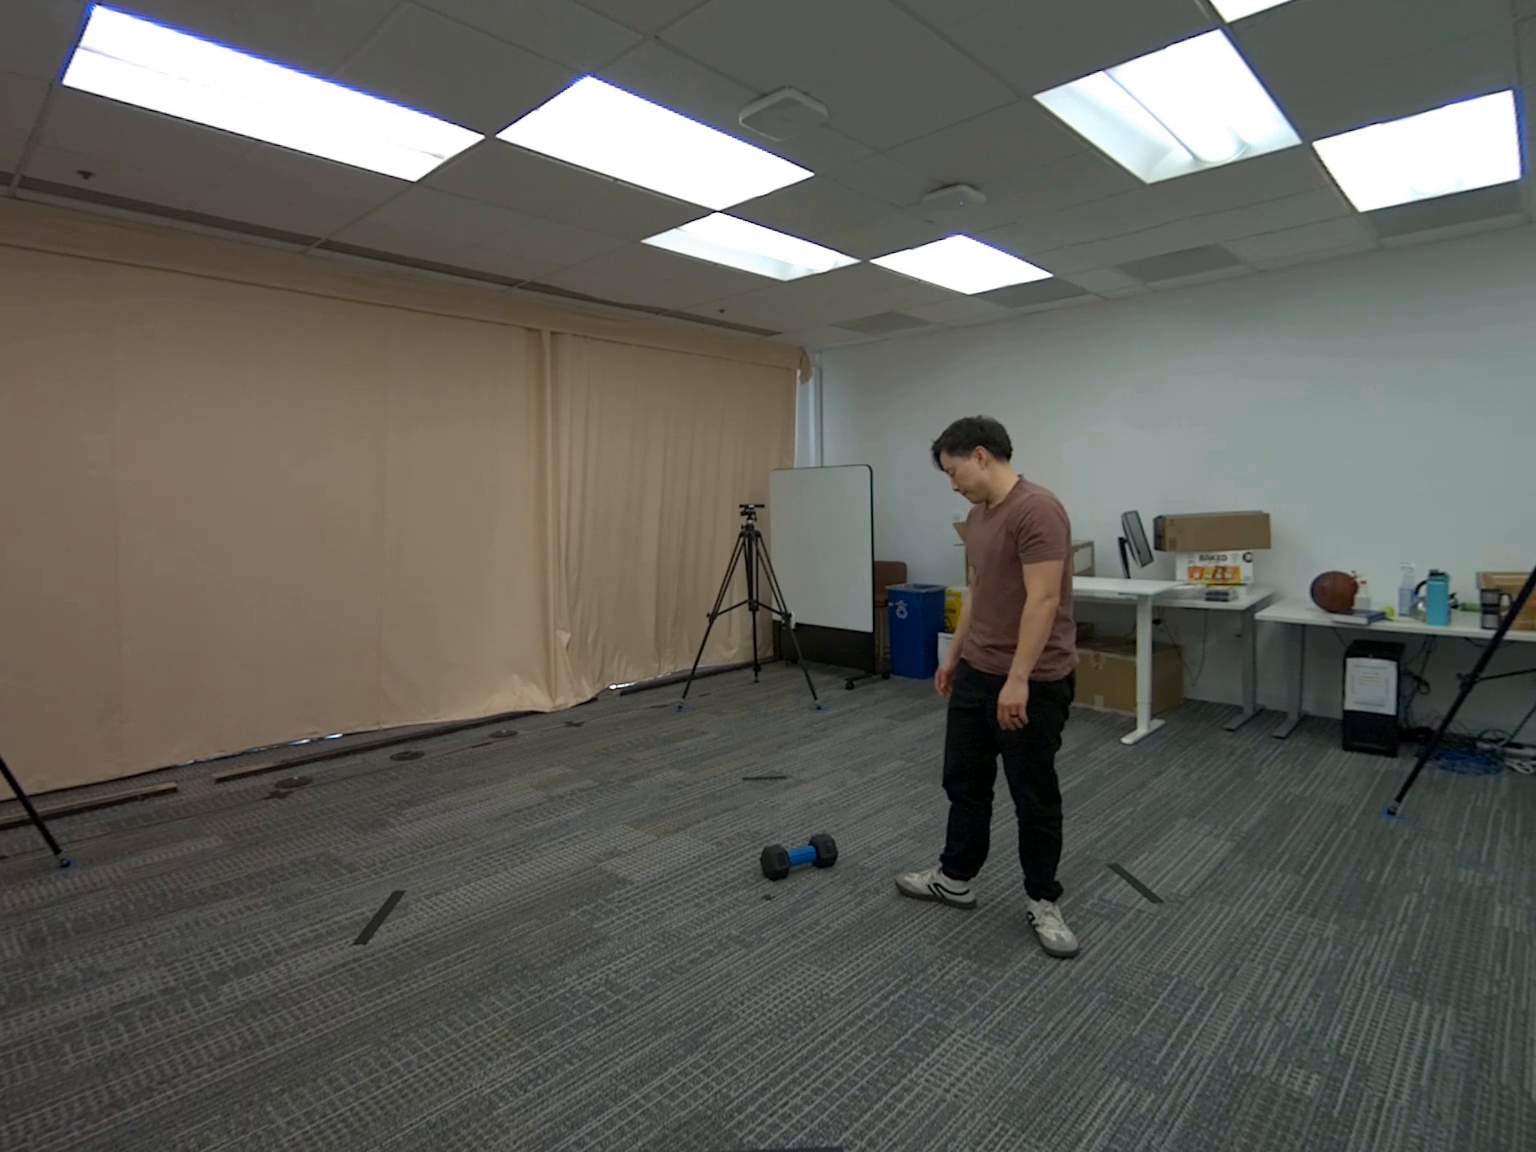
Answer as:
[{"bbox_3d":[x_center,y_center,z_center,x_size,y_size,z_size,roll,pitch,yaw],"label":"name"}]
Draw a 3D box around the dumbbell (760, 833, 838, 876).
[{"bbox_3d":[0.123,1.064,3.191,0.286,0.125,0.109,-4,-26,-27],"label":"dumbbell"}]
